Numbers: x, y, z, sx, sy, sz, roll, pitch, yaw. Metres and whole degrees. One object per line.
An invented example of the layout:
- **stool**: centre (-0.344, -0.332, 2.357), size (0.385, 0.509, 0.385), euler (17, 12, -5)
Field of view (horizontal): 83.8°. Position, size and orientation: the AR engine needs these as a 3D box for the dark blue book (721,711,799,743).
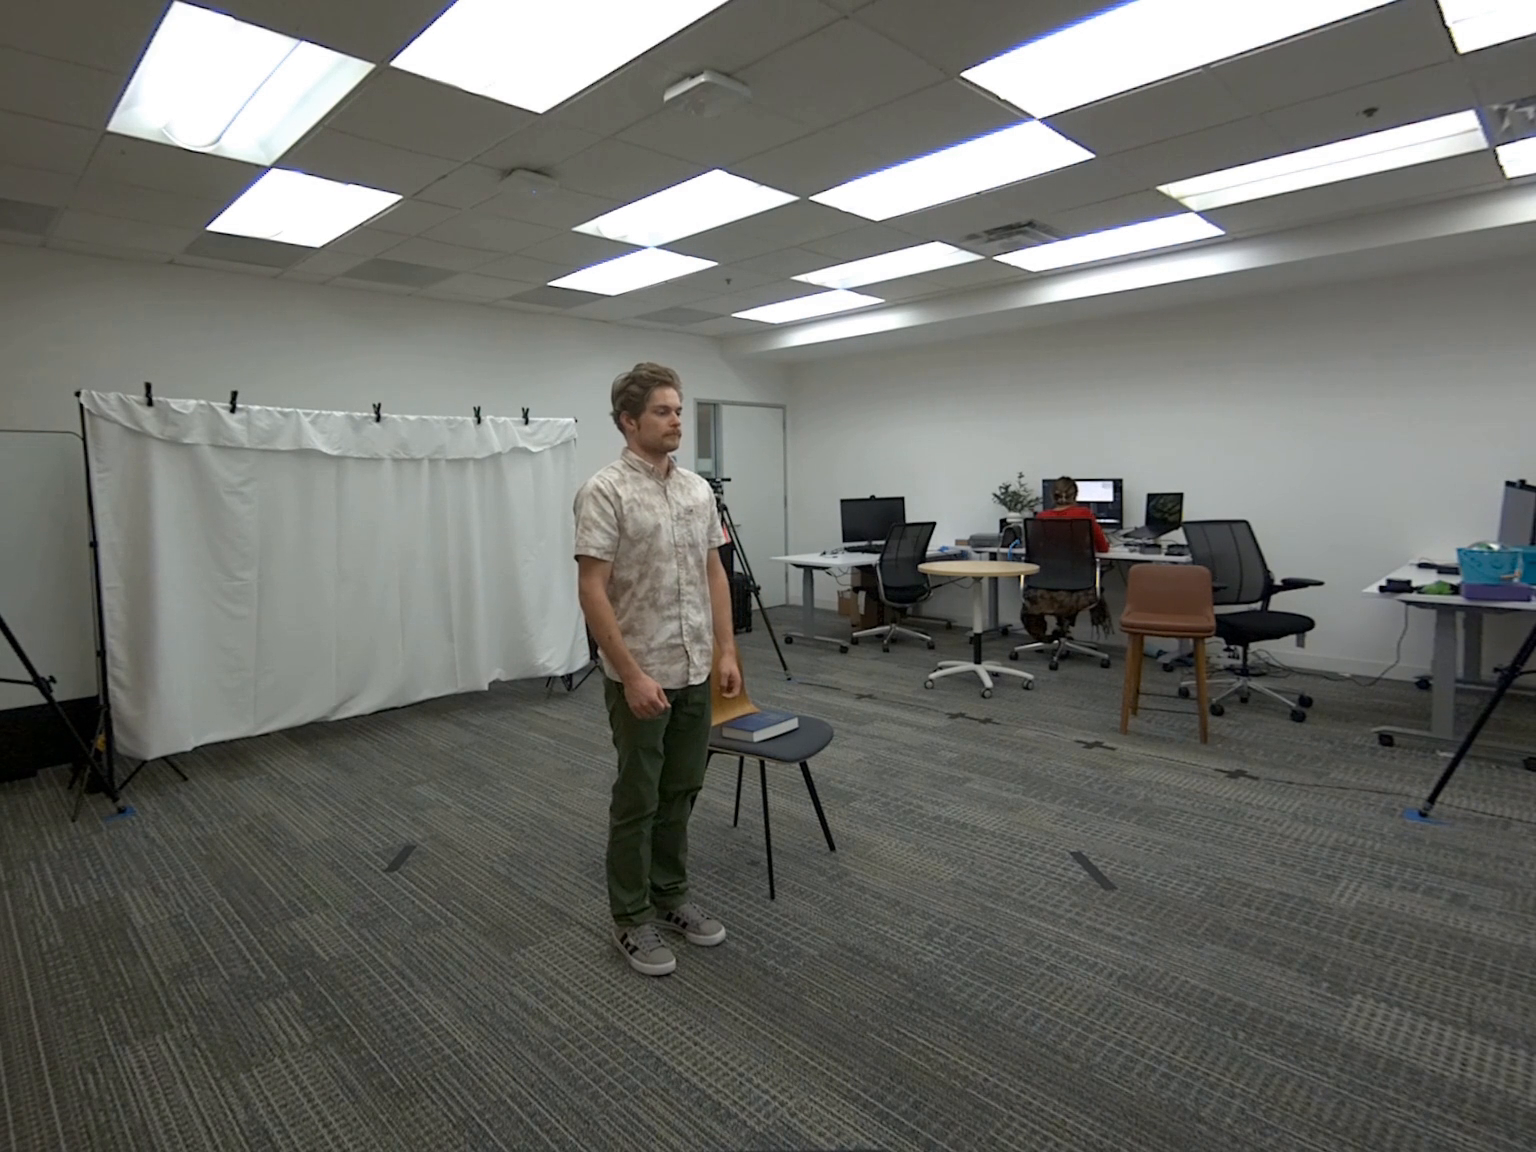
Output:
- **dark blue book**: centre (-0.028, 0.536, 3.080), size (0.168, 0.045, 0.239), euler (1, 7, 43)
